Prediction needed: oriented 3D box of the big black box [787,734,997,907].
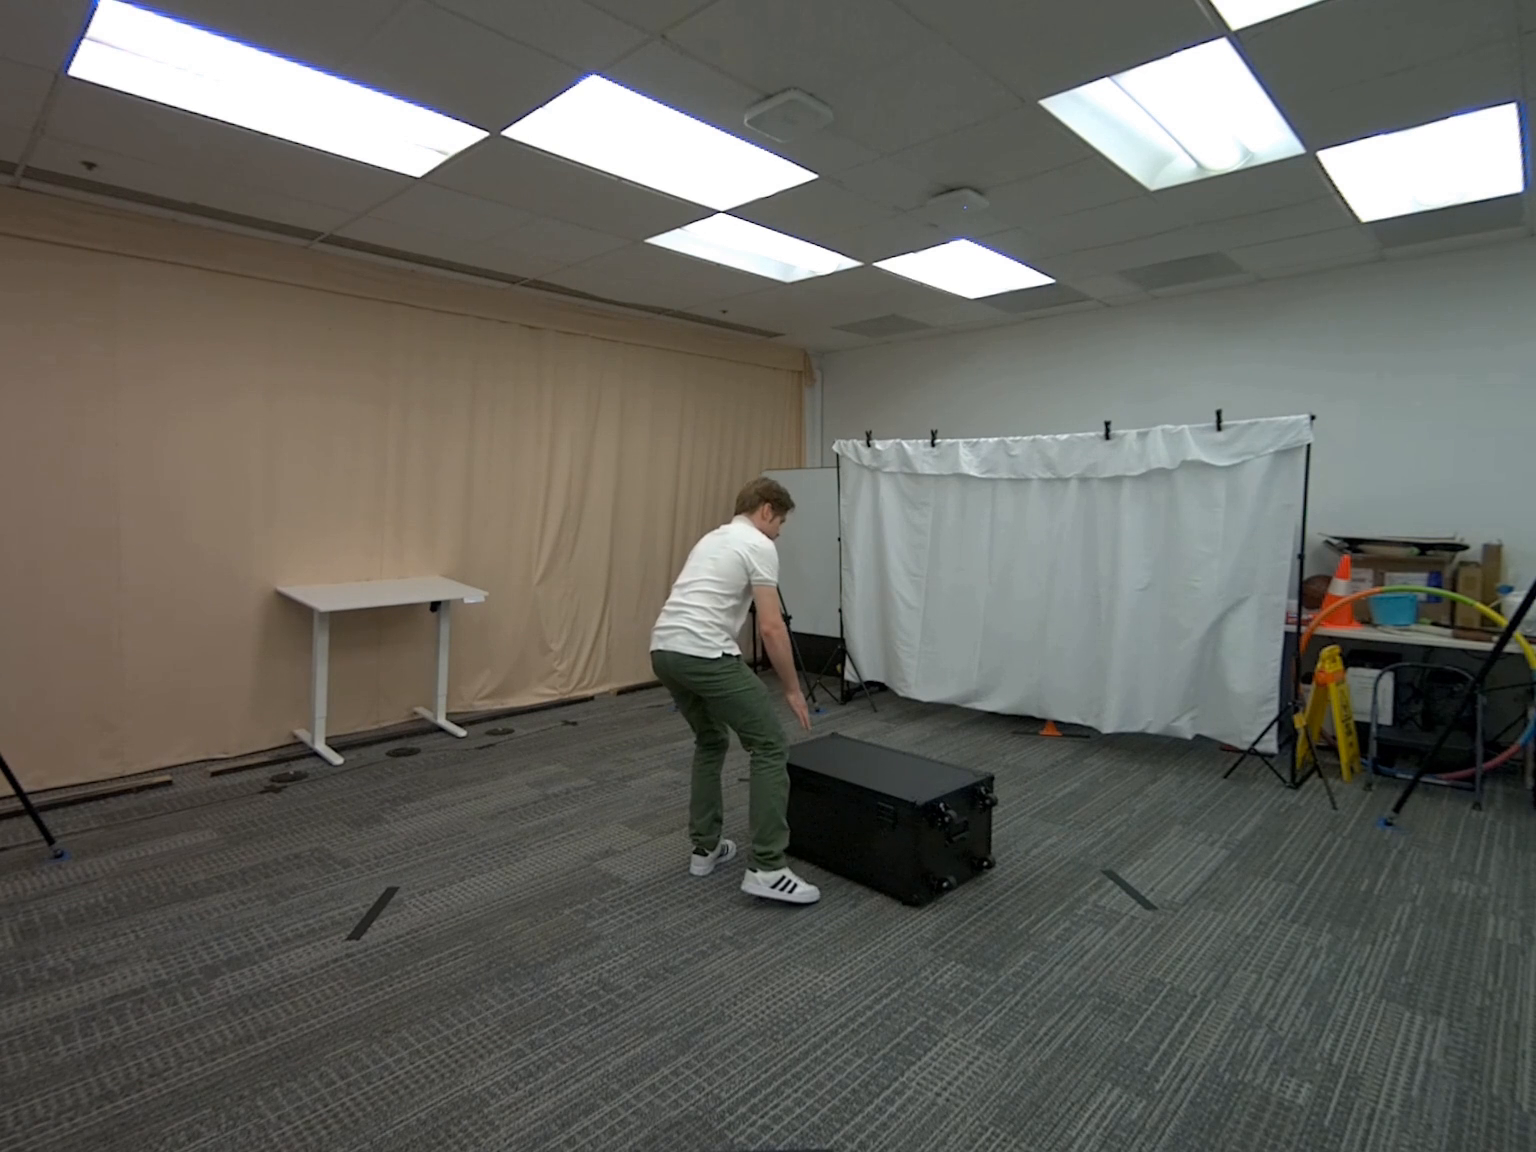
[{"bbox_3d":[0.428,0.918,3.288,0.507,0.384,0.897,-3,5,-44],"label":"big black box"}]
